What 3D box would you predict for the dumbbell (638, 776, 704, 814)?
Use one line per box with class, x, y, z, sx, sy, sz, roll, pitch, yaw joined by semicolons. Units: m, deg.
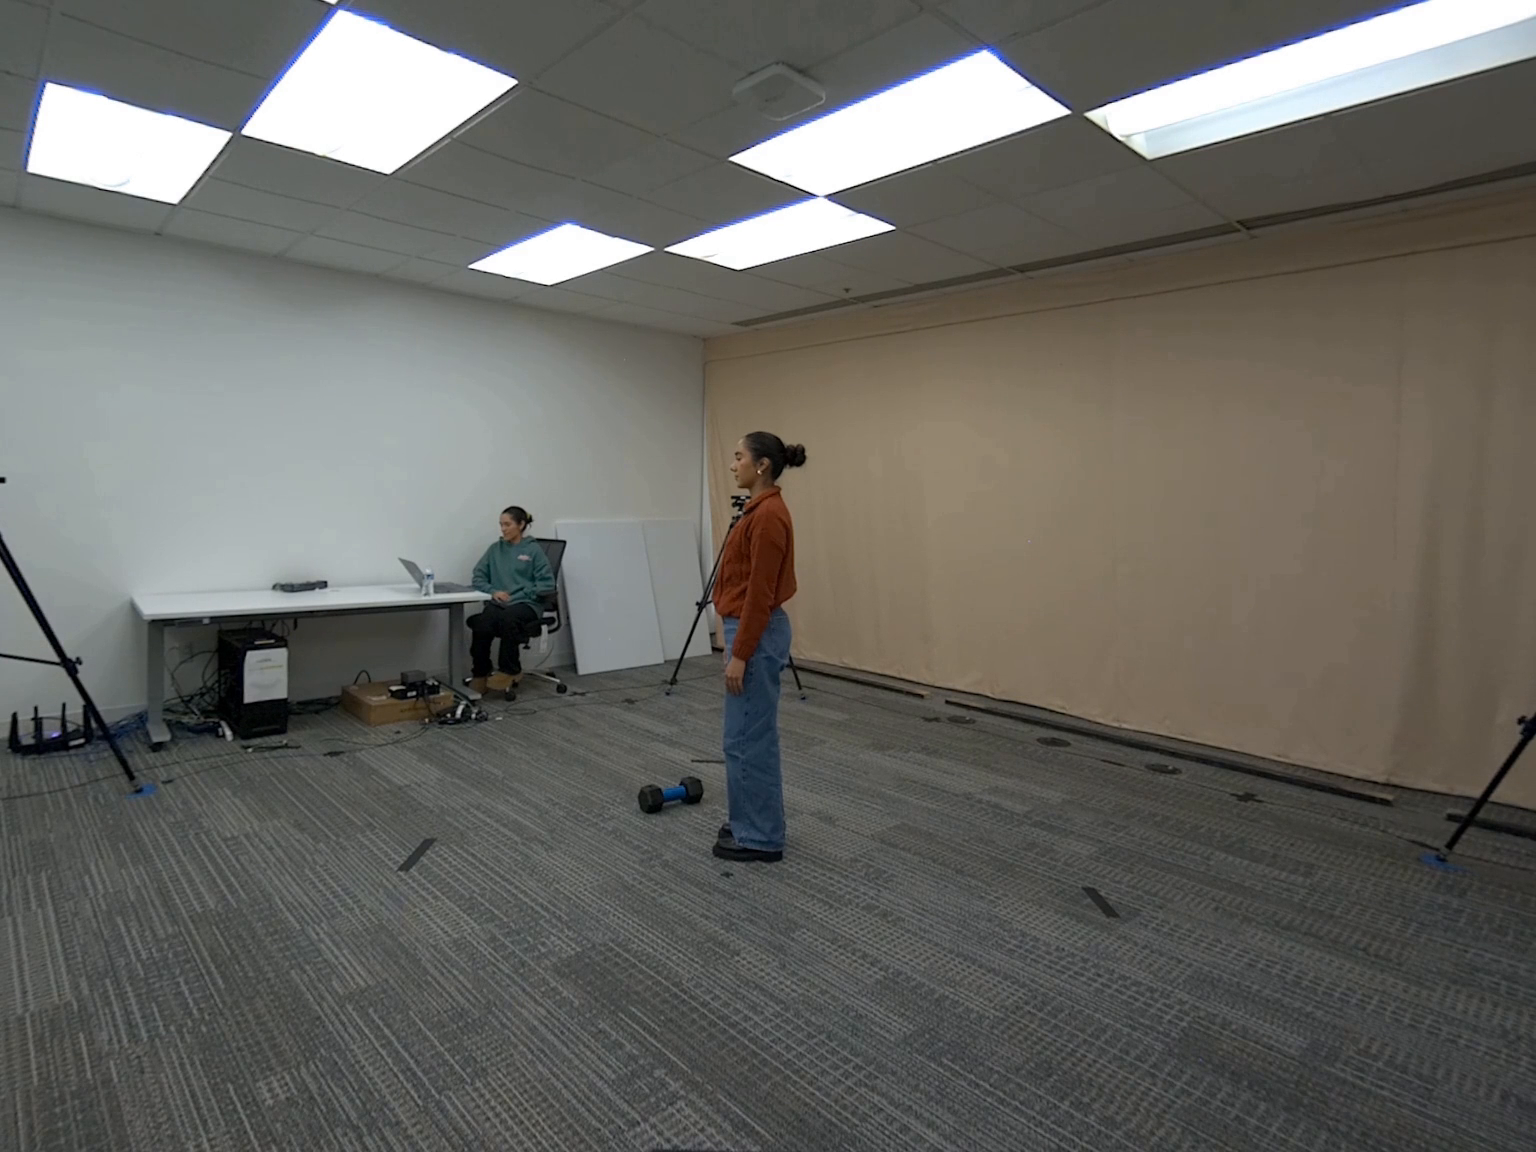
dumbbell;-0.443;0.981;3.781;0.287;0.122;0.112;-2;36;-38
